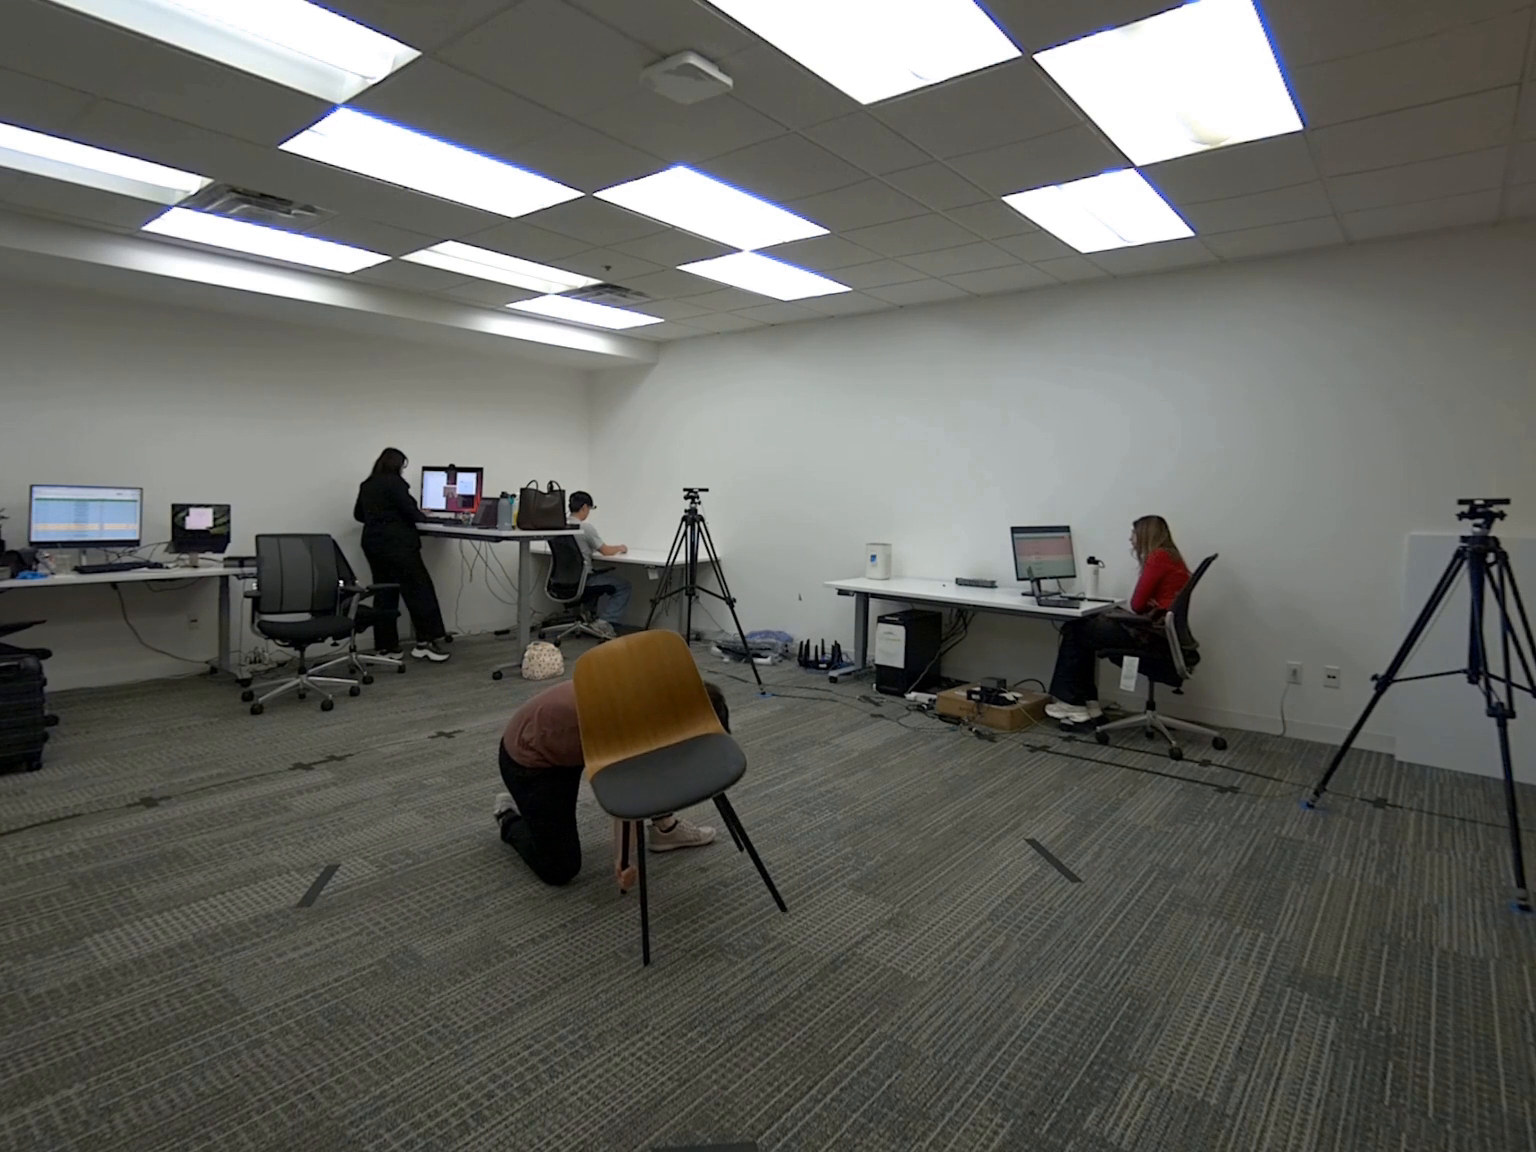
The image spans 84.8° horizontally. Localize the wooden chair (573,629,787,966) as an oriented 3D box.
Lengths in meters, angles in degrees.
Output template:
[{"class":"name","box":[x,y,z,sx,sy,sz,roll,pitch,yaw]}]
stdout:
[{"class":"wooden chair","box":[-0.313,0.643,2.669,0.472,0.874,0.531,-15,4,-15]}]
